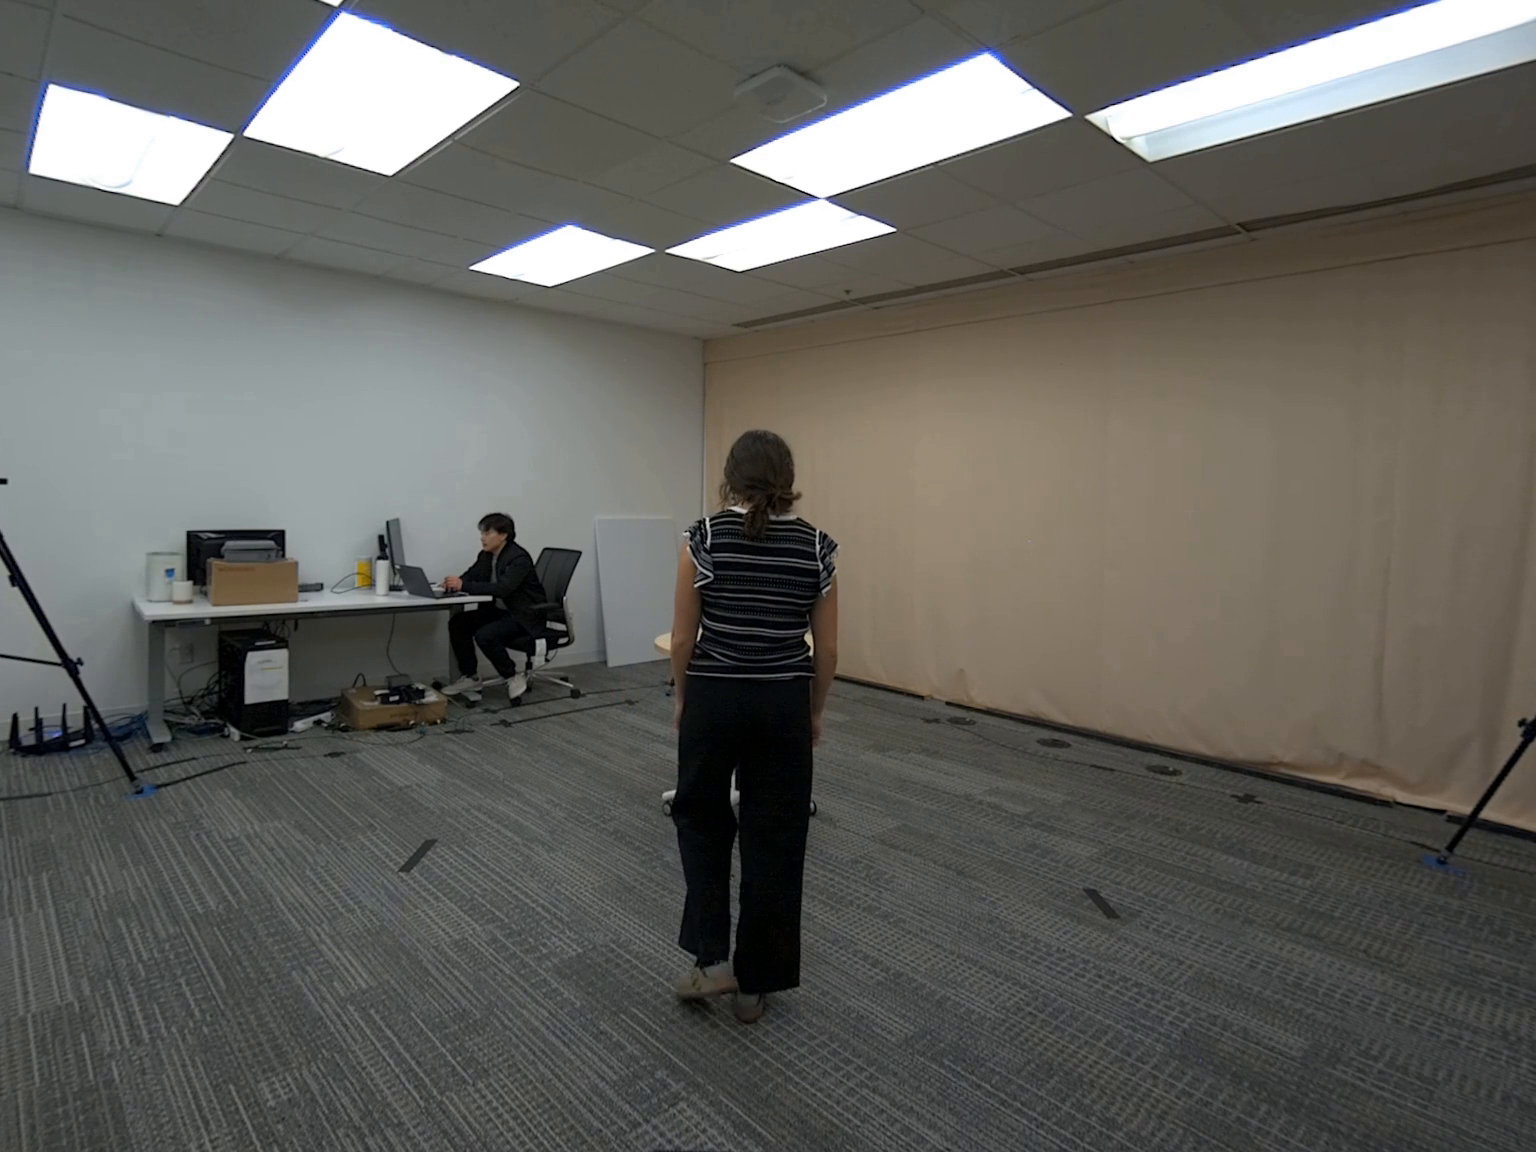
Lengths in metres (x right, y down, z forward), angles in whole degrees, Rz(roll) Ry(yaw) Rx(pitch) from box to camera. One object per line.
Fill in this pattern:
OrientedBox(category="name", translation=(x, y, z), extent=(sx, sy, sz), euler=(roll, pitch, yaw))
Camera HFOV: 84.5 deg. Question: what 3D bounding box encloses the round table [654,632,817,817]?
OrientedBox(category="round table", translation=(-0.119, 0.680, 3.617), extent=(0.763, 0.792, 0.767), euler=(2, 4, -1))
